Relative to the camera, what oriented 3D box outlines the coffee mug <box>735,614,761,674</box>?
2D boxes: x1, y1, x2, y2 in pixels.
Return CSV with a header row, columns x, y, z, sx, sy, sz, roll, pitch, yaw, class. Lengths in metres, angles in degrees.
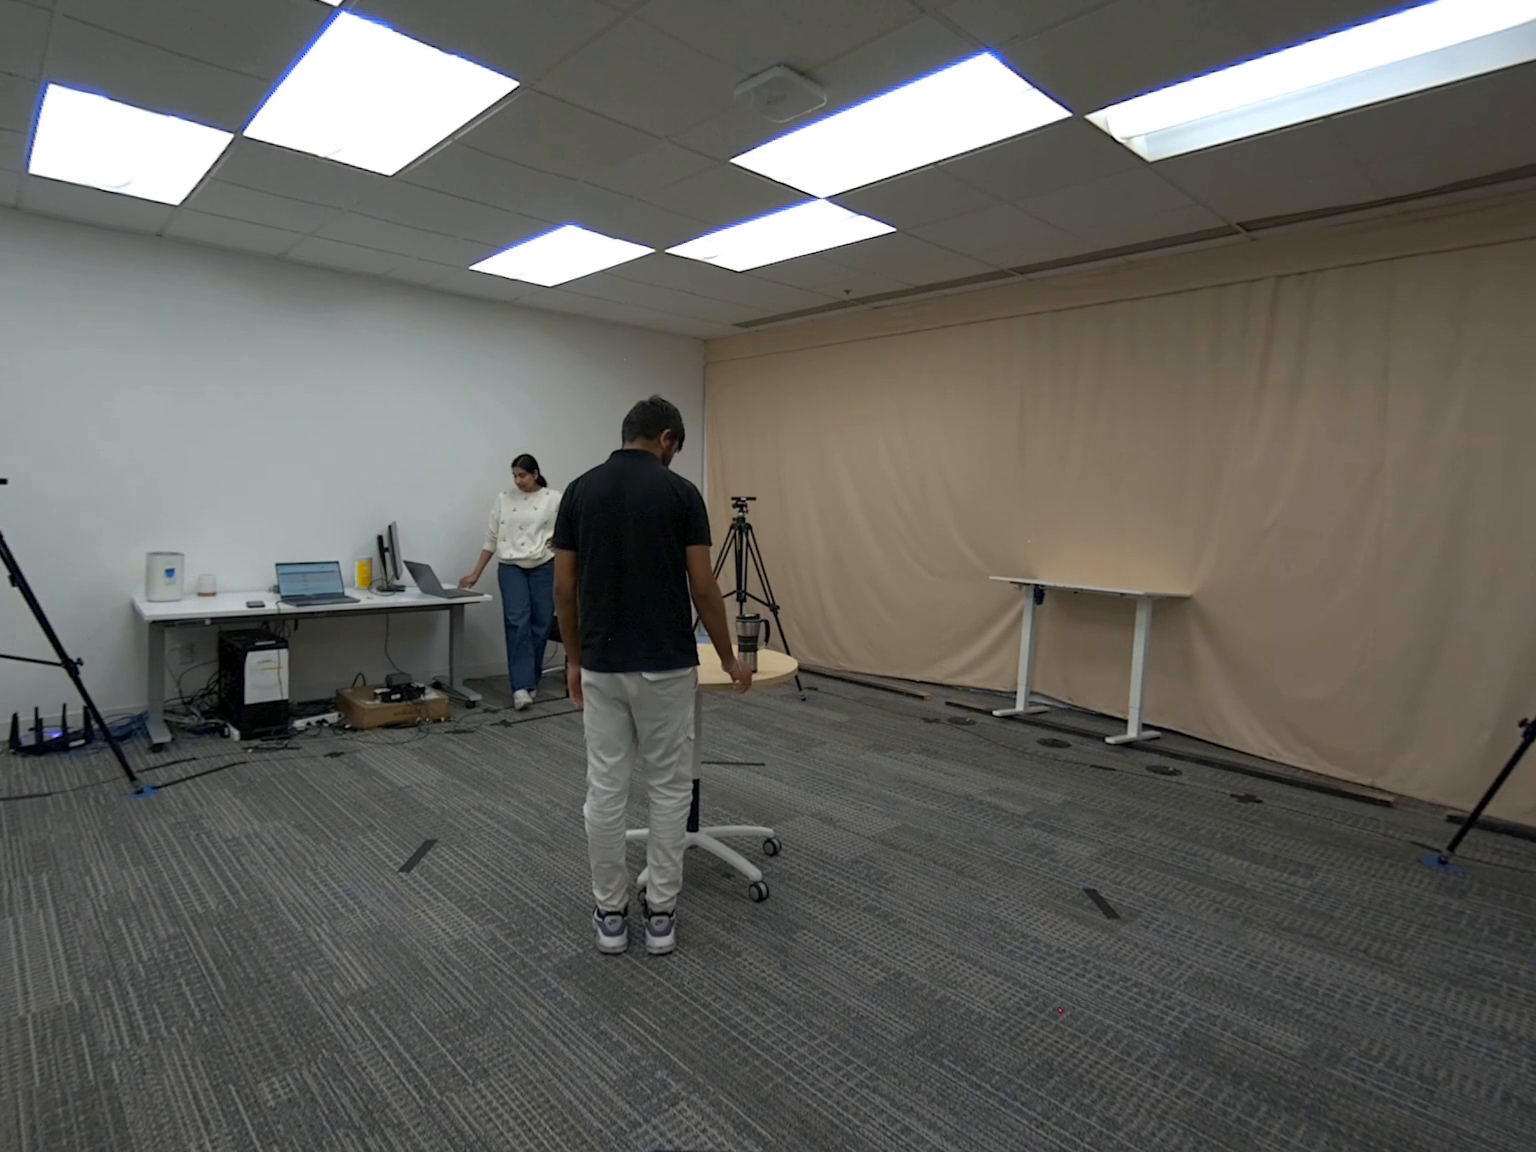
x,y,z,sx,sy,sz,roll,pitch,yaw,class
-0.059,0.237,2.947,0.121,0.203,0.088,-2,1,-7,coffee mug
